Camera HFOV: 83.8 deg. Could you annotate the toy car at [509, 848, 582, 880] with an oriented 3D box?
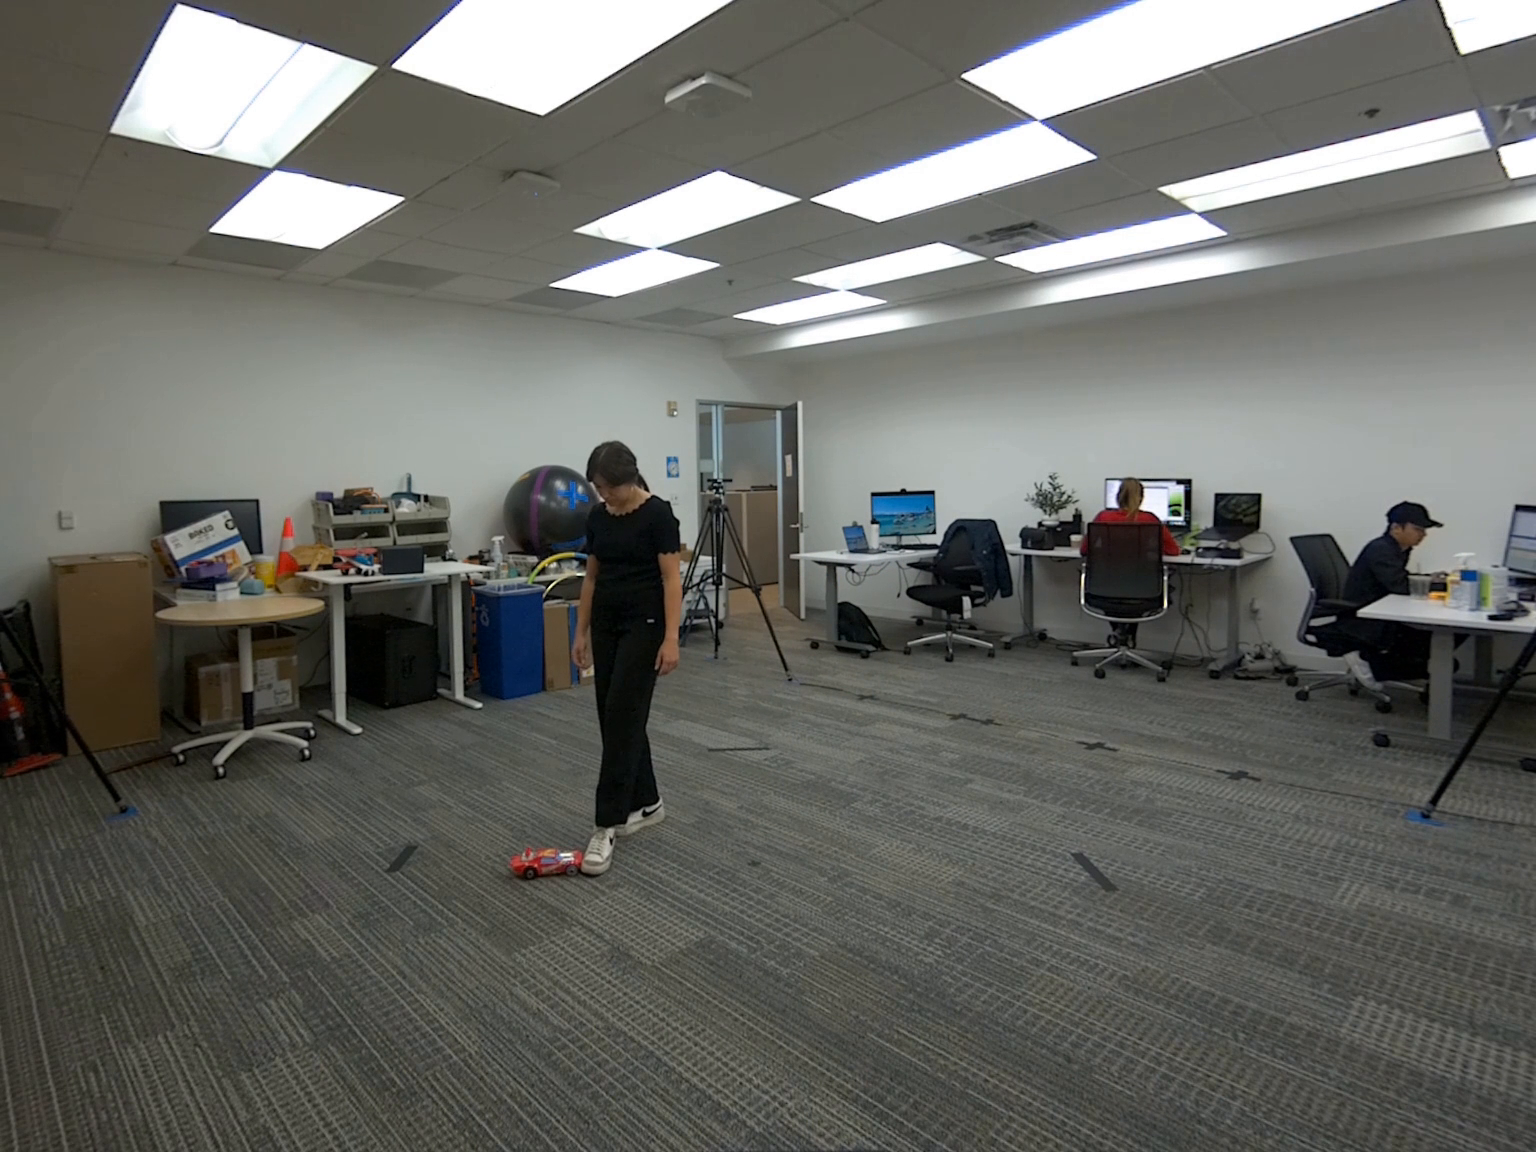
[{"bbox_3d":[-0.799,1.032,3.068,0.252,0.083,0.132,9,4,-7],"label":"toy car"}]
